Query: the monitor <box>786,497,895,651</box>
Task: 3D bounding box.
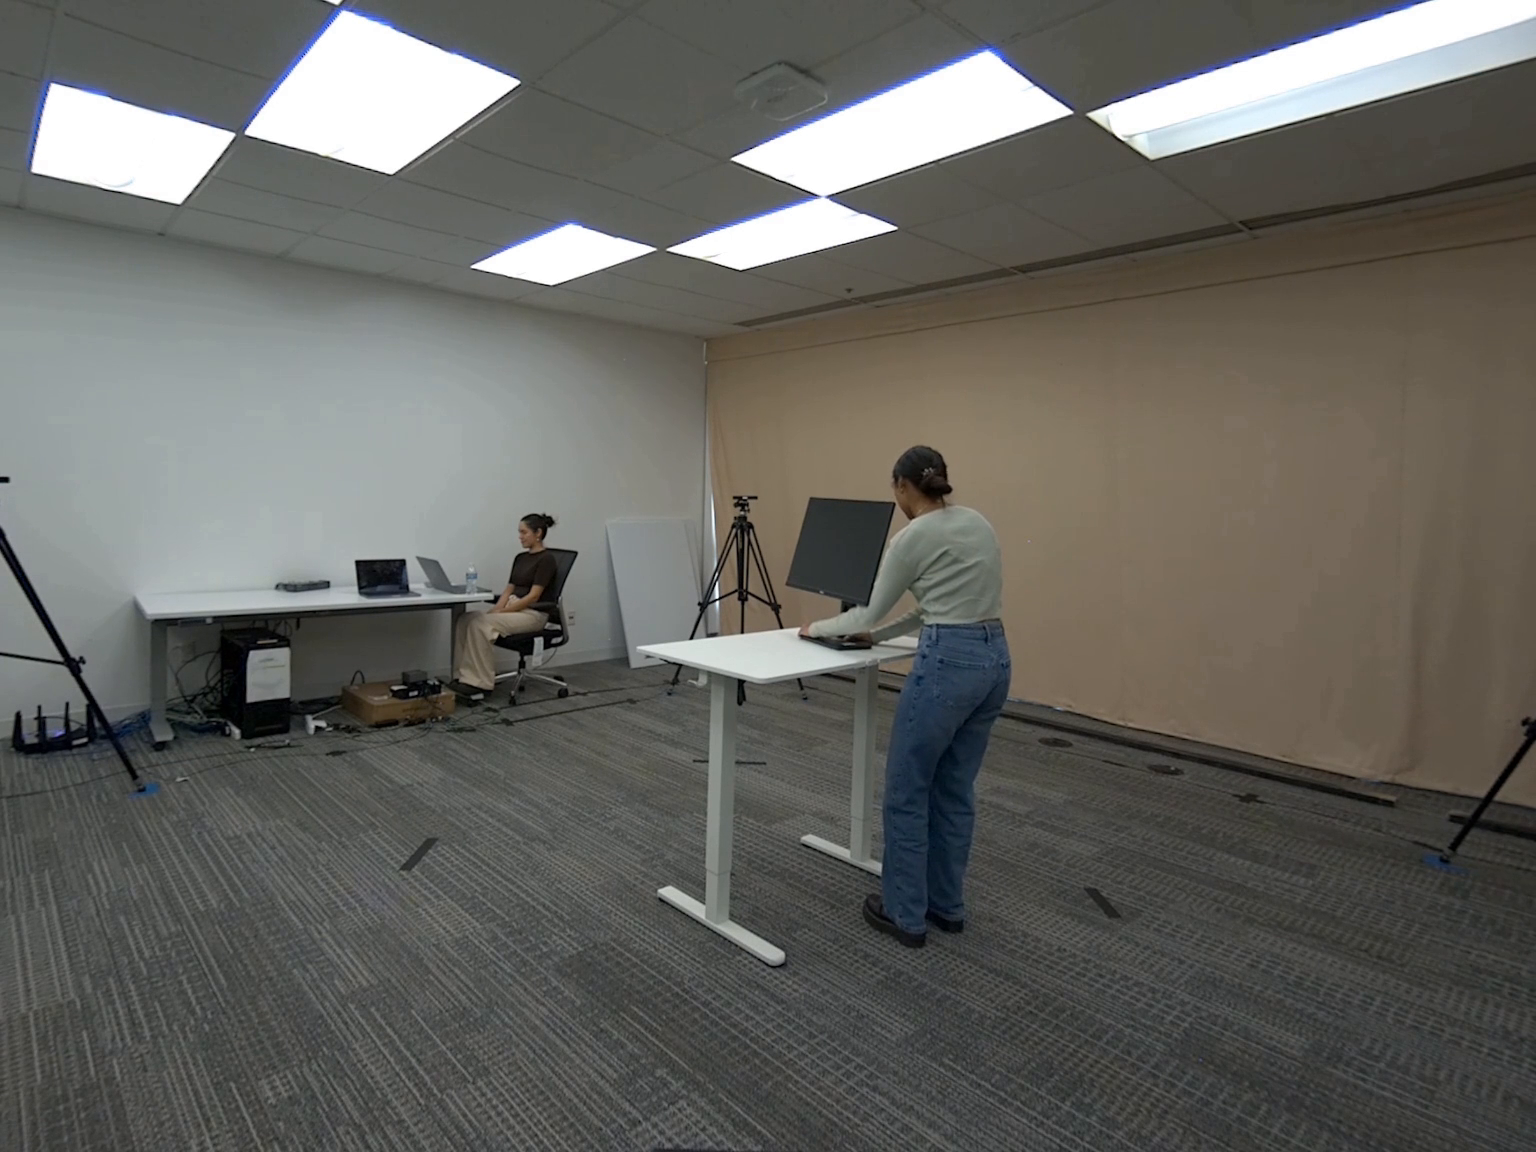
[{"bbox_3d":[0.254,-0.017,2.993,0.171,0.514,0.542,-2,7,-28],"label":"monitor"}]
